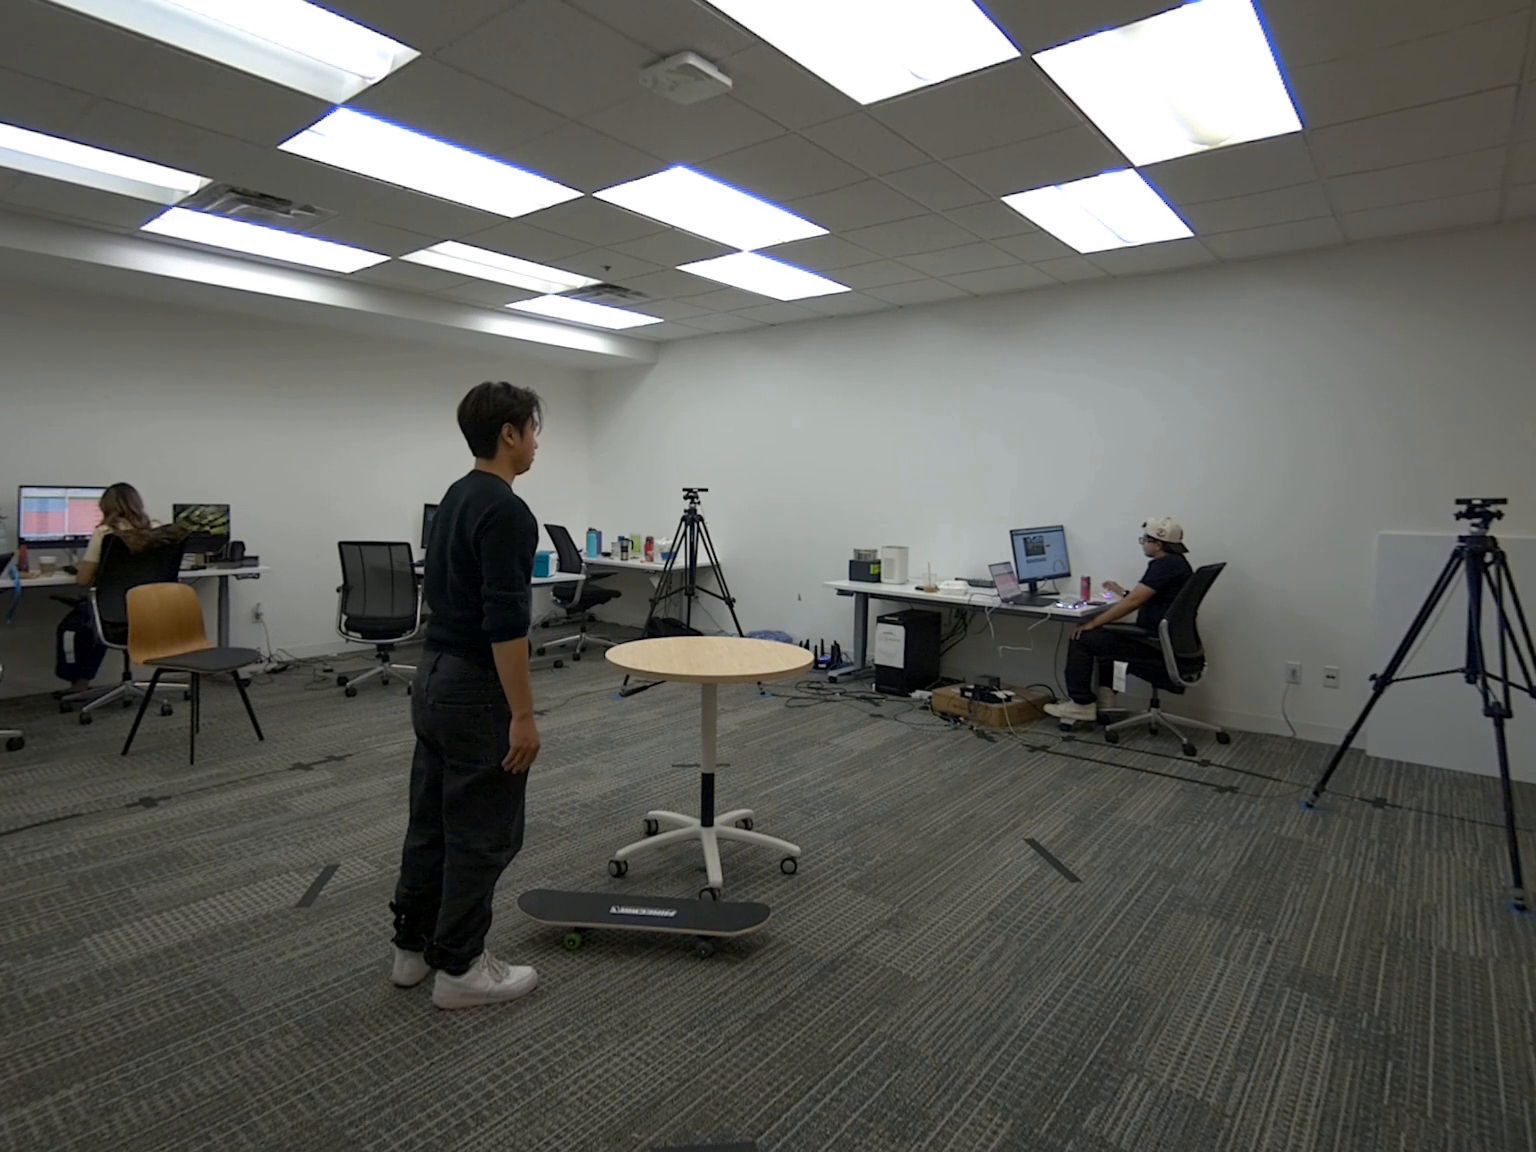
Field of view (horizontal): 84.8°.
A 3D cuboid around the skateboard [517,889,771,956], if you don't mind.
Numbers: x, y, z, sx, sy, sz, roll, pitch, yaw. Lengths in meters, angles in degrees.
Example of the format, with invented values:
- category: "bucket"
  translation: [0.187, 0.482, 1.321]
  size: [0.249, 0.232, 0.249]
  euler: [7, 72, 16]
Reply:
- category: "skateboard"
  translation: [-0.392, 1.056, 2.612]
  size: [0.790, 0.110, 0.193]
  euler: [1, 5, 5]
